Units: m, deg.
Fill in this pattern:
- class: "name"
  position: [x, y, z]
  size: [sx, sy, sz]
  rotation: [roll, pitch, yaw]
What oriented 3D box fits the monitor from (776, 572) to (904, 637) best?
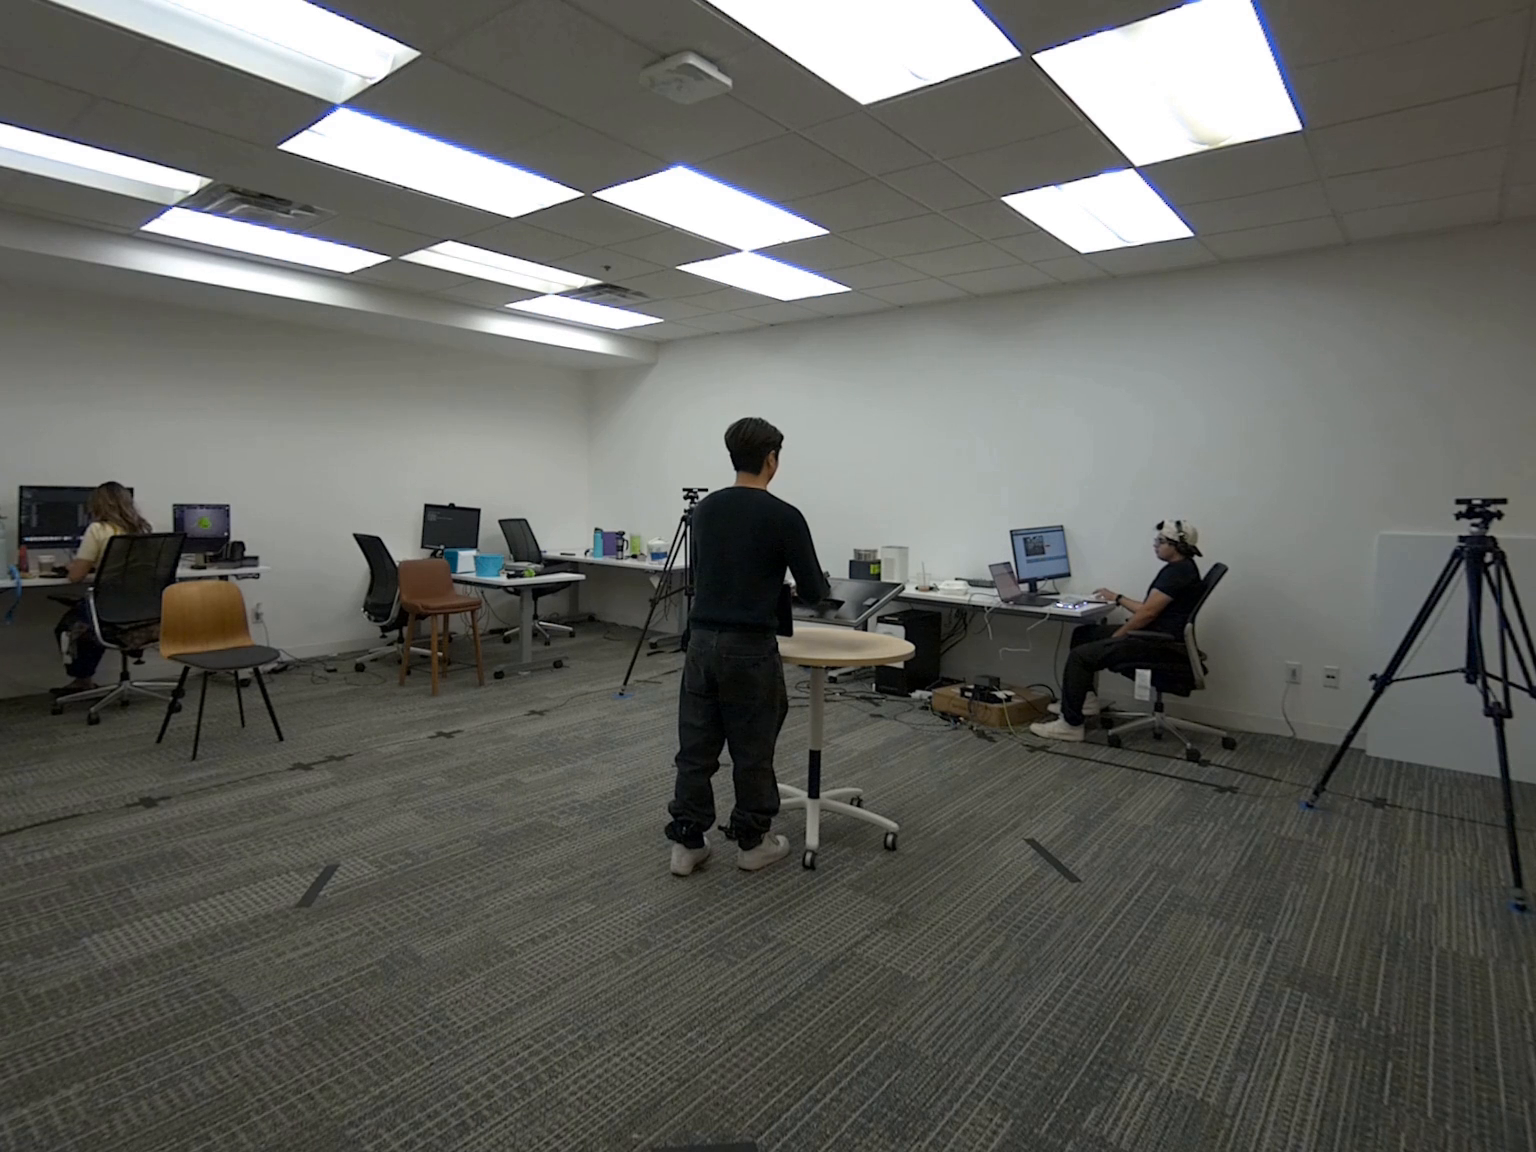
- class: "monitor"
  position: [0.162, 0.080, 3.428]
  size: [0.558, 0.185, 0.510]
  rotation: [6, 16, 43]
